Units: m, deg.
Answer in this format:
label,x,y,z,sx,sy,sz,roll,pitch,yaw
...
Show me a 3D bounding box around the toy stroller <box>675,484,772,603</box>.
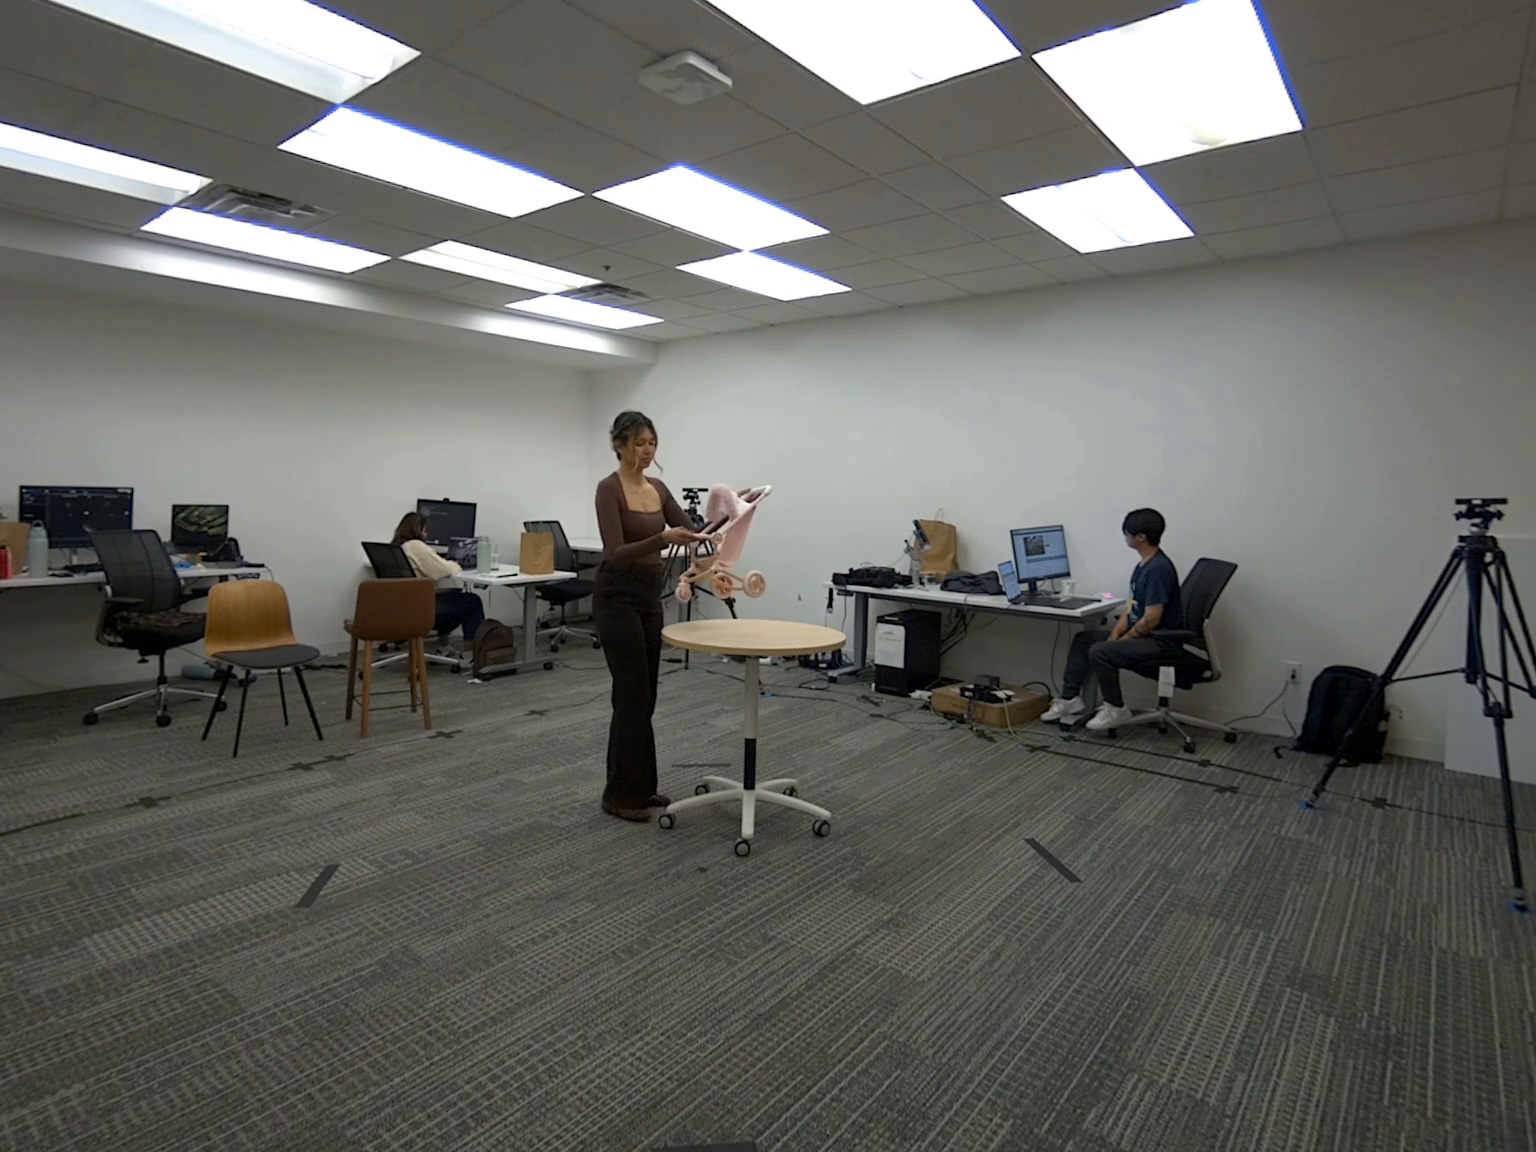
label,x,y,z,sx,sy,sz,roll,pitch,yaw
toy stroller,-0.208,-0.138,3.434,0.331,0.539,0.288,12,-10,-27
